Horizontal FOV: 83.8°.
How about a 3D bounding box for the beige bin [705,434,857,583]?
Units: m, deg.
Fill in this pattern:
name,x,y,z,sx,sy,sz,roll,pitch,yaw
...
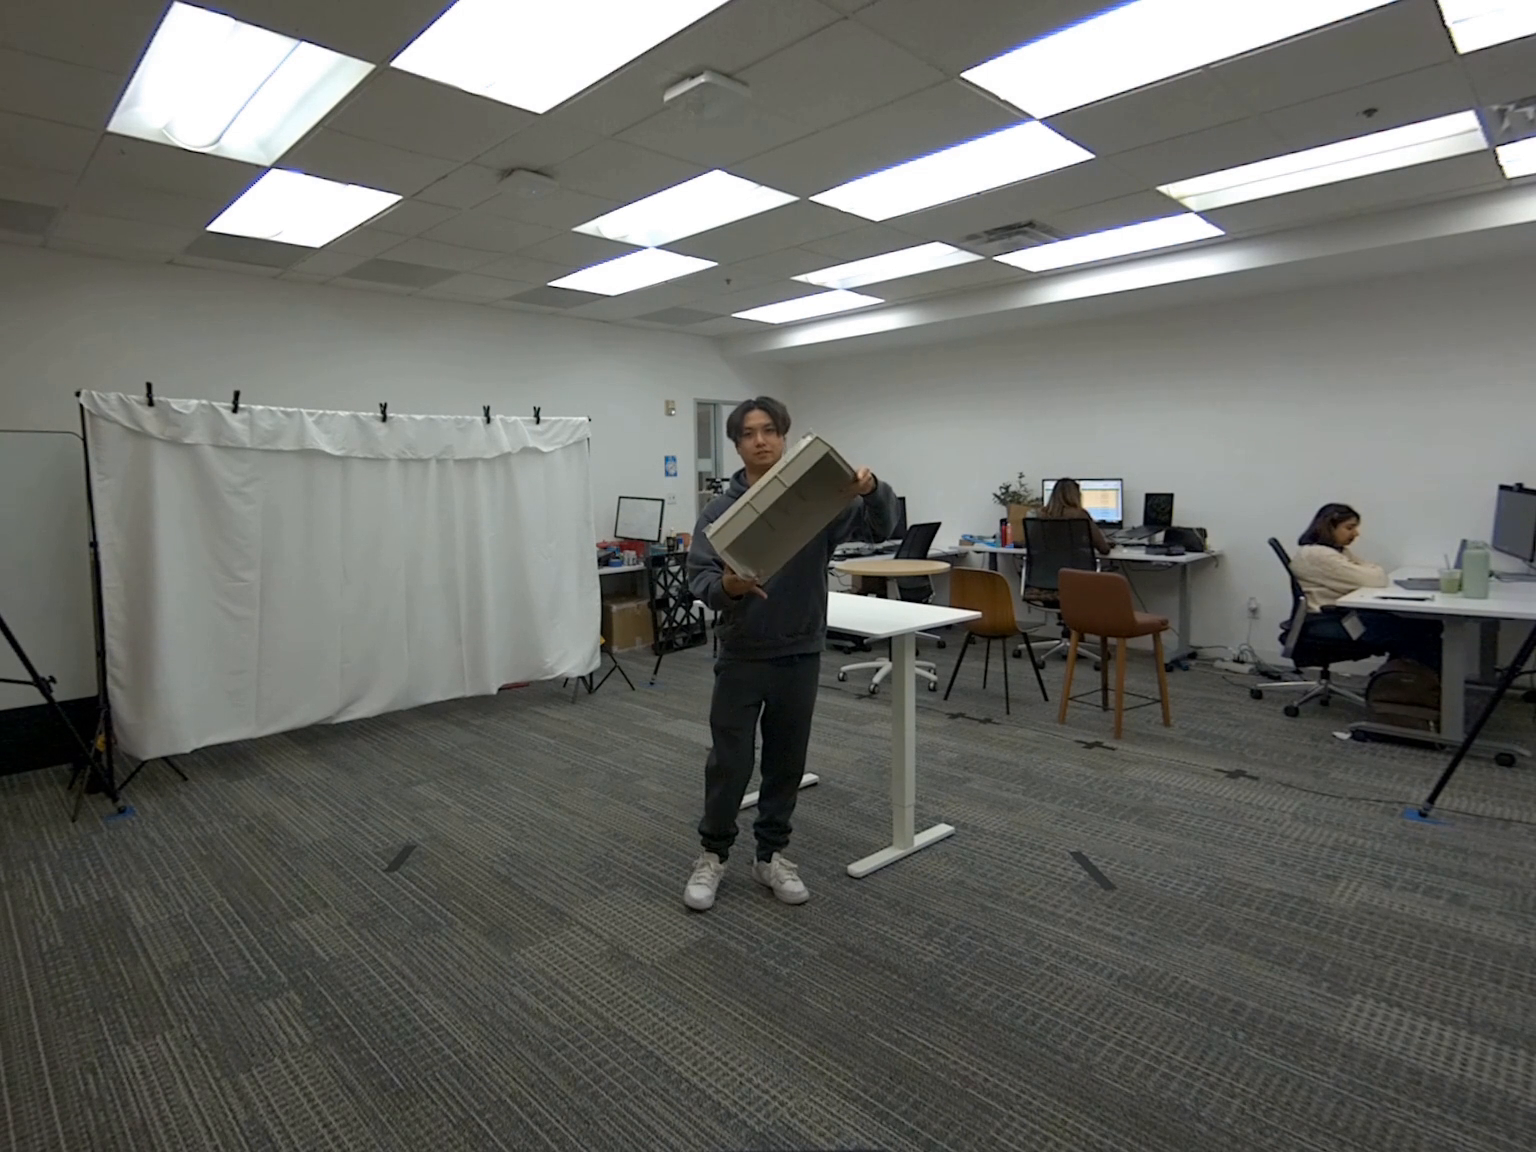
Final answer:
name,x,y,z,sx,sy,sz,roll,pitch,yaw
beige bin,0.048,-0.186,2.450,0.422,0.192,0.372,-45,-9,4
